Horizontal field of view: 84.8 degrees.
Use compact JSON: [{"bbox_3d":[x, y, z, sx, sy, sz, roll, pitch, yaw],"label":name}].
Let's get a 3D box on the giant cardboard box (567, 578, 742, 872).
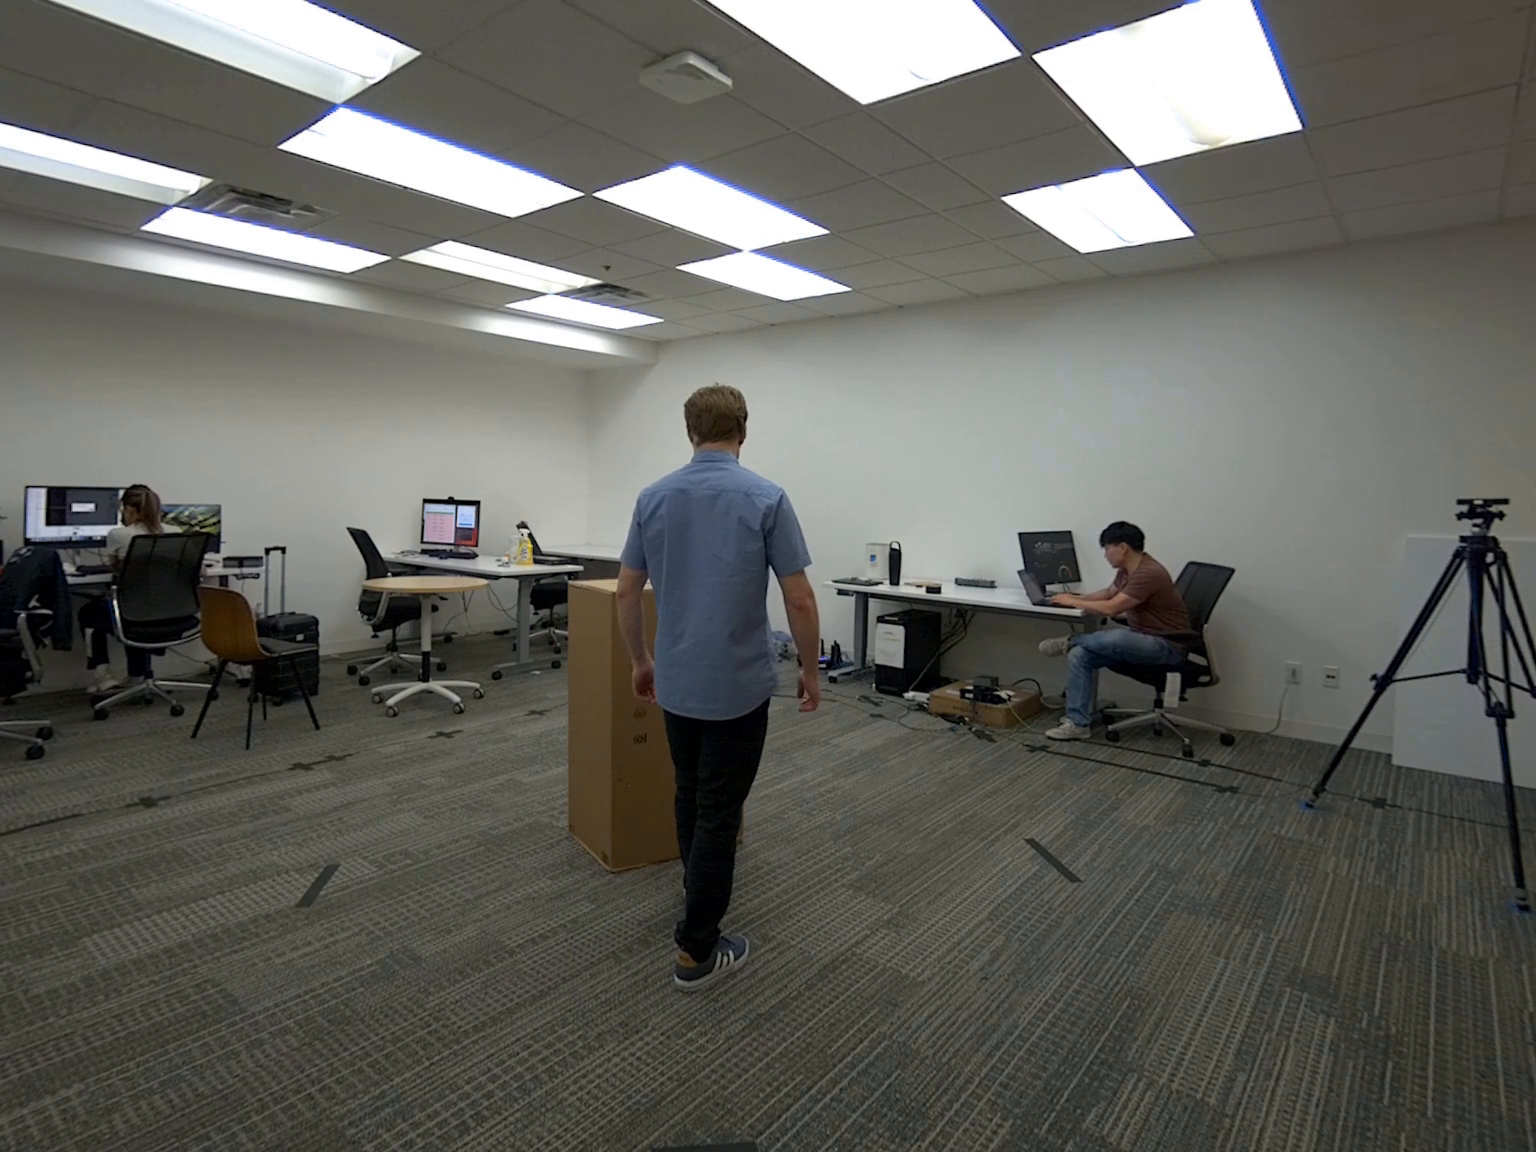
[{"bbox_3d":[-0.459,0.531,3.359,0.561,1.023,0.440,-1,4,-33],"label":"giant cardboard box"}]
